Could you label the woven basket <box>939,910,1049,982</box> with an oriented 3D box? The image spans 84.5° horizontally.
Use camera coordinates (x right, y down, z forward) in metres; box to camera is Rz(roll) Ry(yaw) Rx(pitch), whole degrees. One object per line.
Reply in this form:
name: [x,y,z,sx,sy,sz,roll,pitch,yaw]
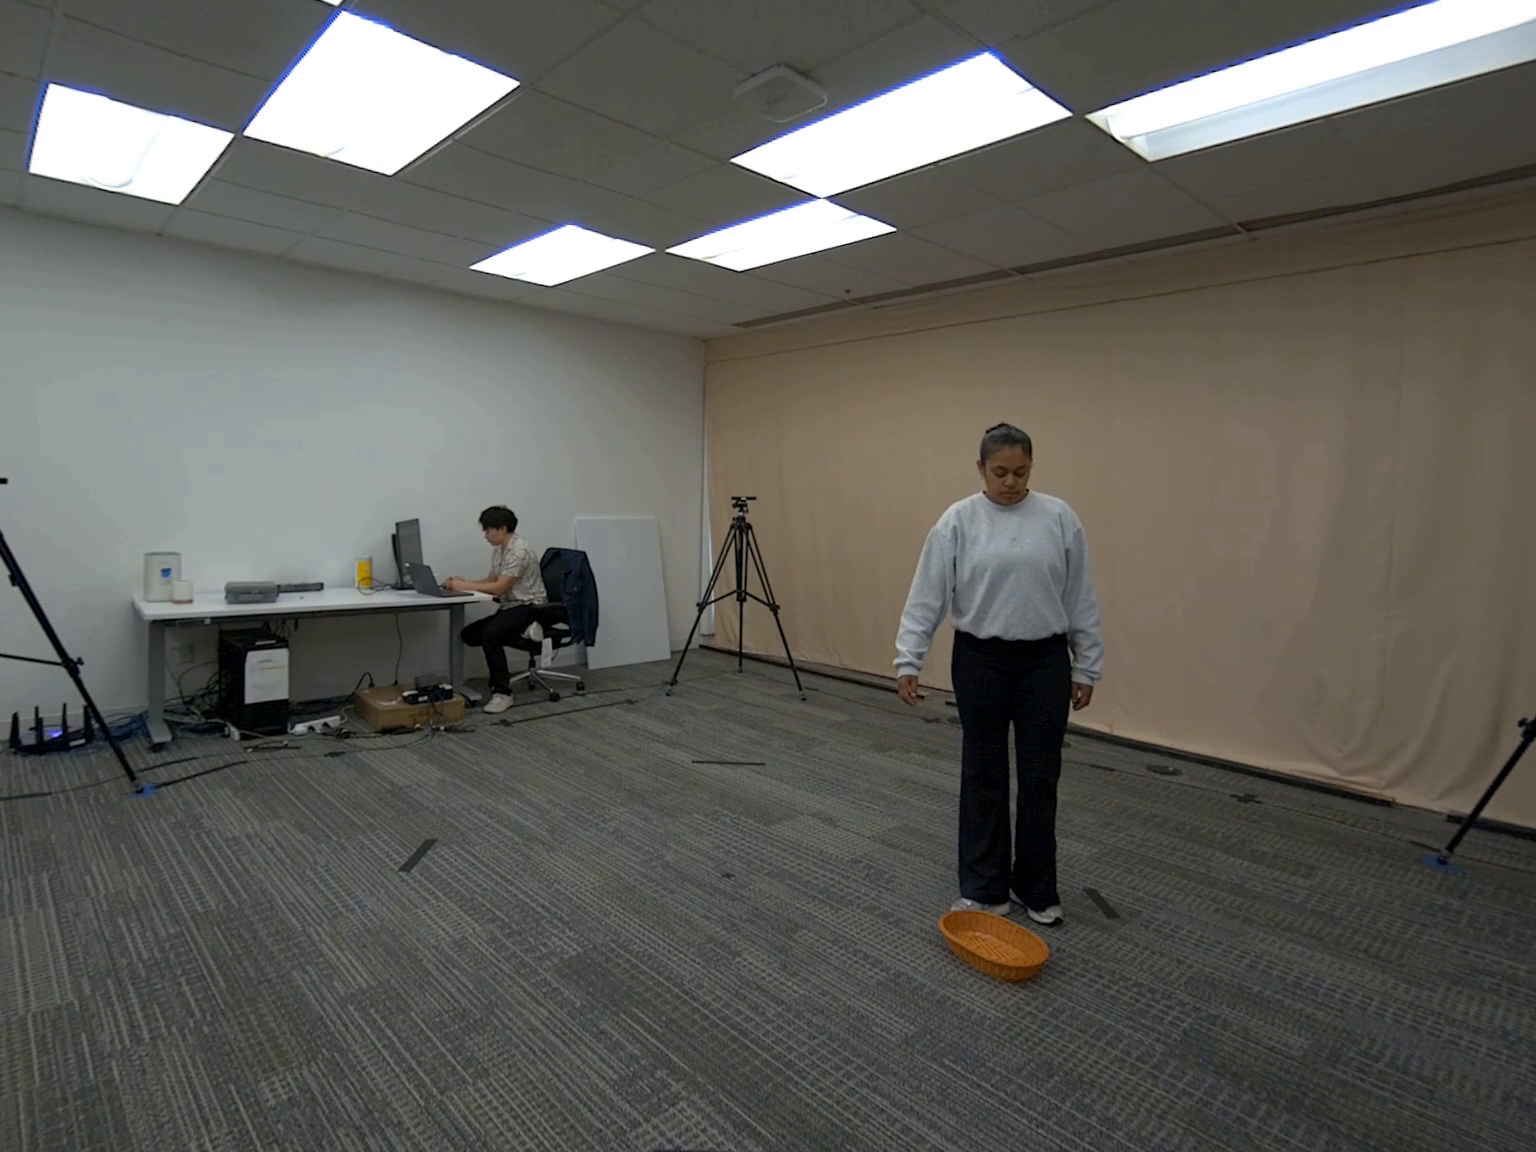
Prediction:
woven basket: [0.677,1.137,2.589,0.247,0.073,0.359,-3,6,-34]
